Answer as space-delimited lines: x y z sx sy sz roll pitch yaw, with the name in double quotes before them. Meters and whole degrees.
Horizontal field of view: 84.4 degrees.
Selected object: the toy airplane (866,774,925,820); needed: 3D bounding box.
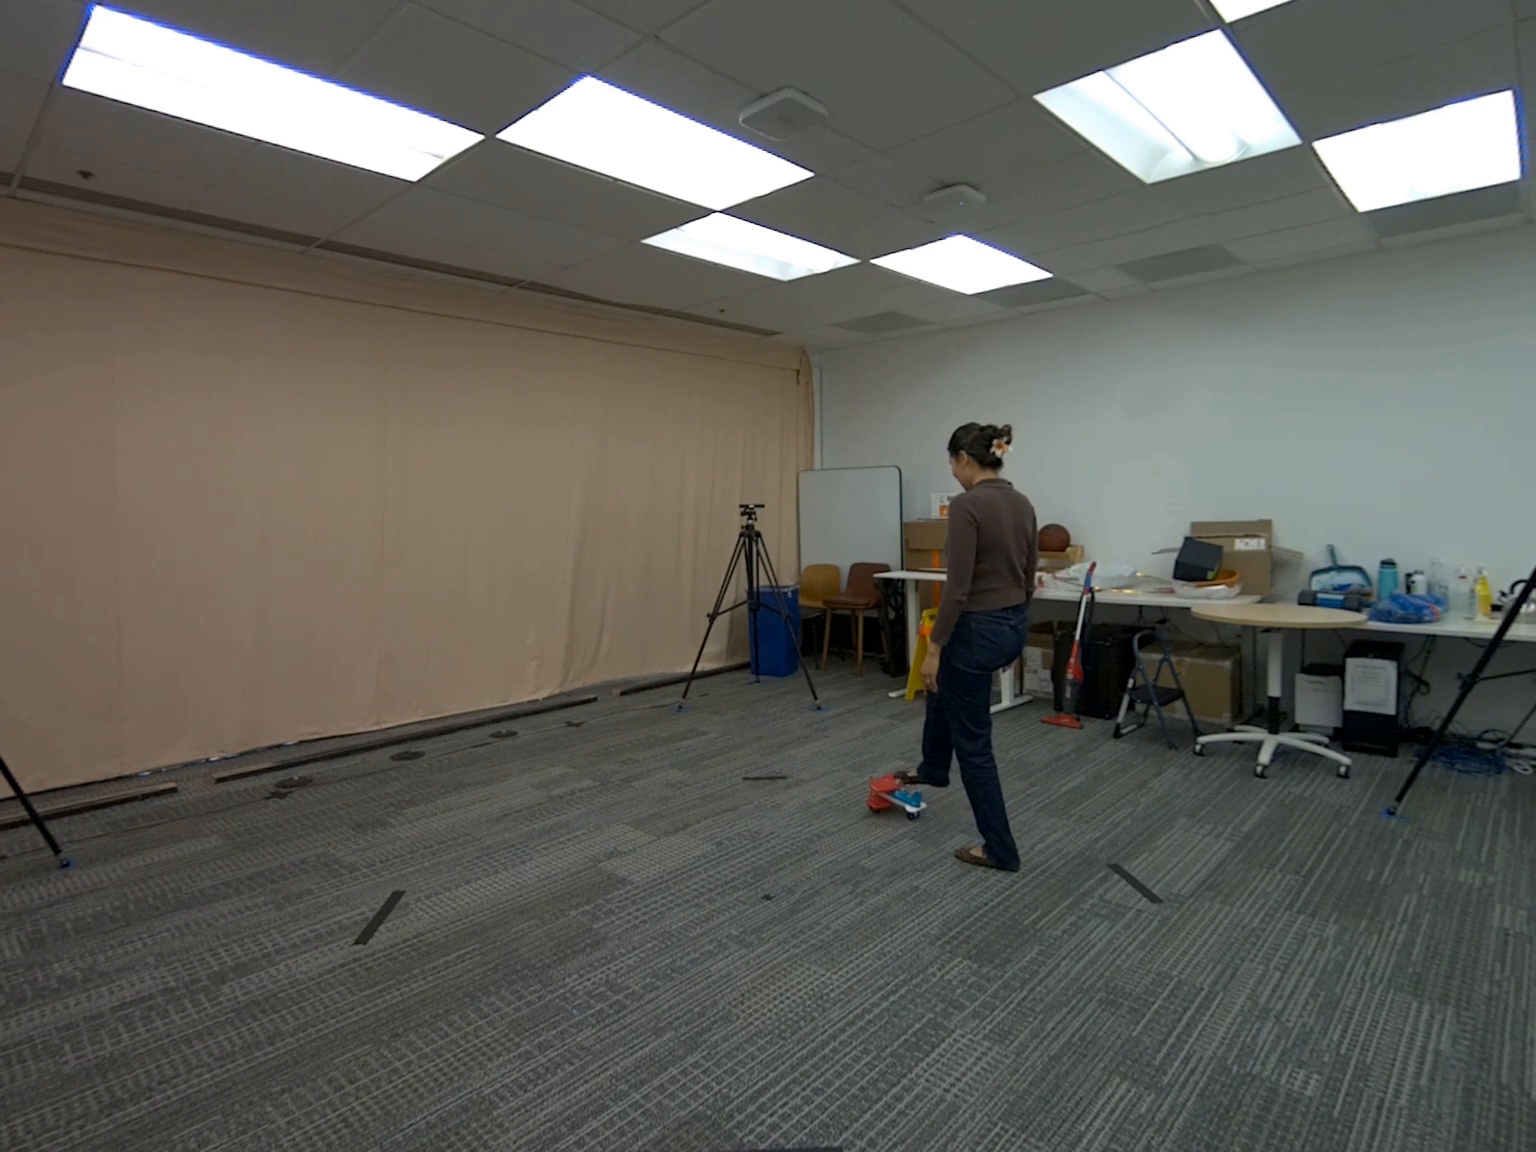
"toy airplane" 0.585 0.988 3.780 0.264 0.156 0.247 -1 4 18
